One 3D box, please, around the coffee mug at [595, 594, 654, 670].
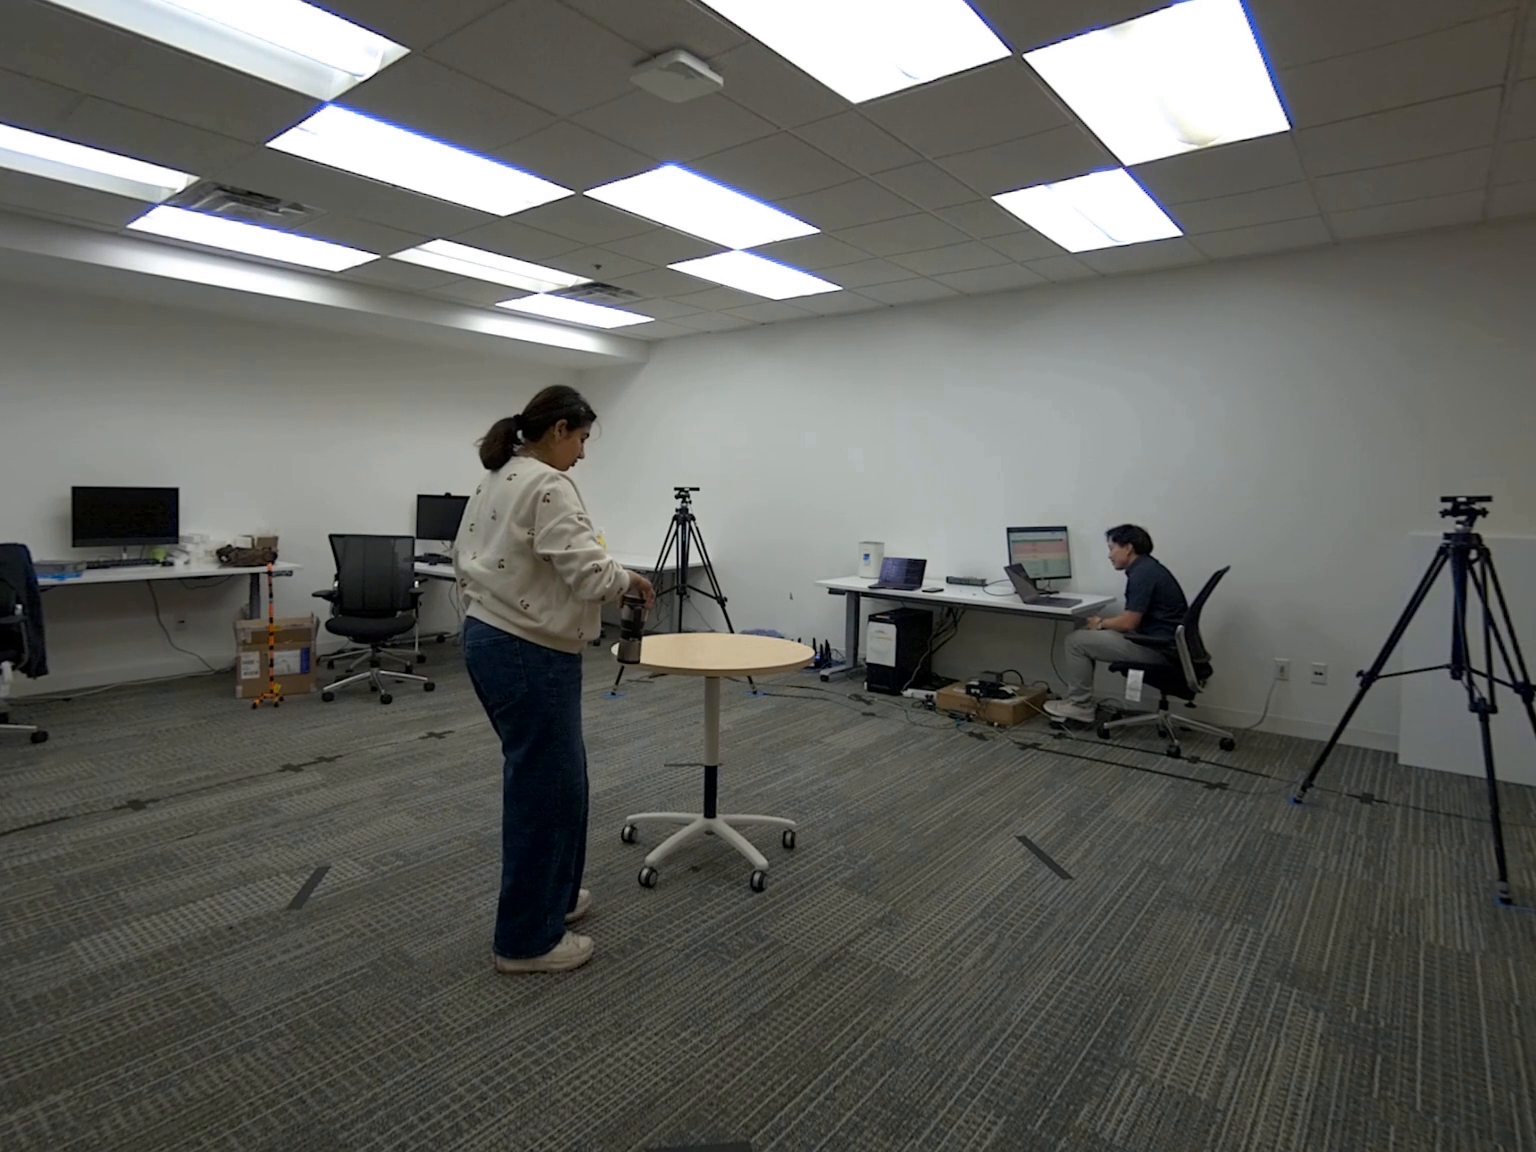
[{"bbox_3d":[-0.437,0.165,2.556,0.091,0.202,0.118,12,6,33],"label":"coffee mug"}]
